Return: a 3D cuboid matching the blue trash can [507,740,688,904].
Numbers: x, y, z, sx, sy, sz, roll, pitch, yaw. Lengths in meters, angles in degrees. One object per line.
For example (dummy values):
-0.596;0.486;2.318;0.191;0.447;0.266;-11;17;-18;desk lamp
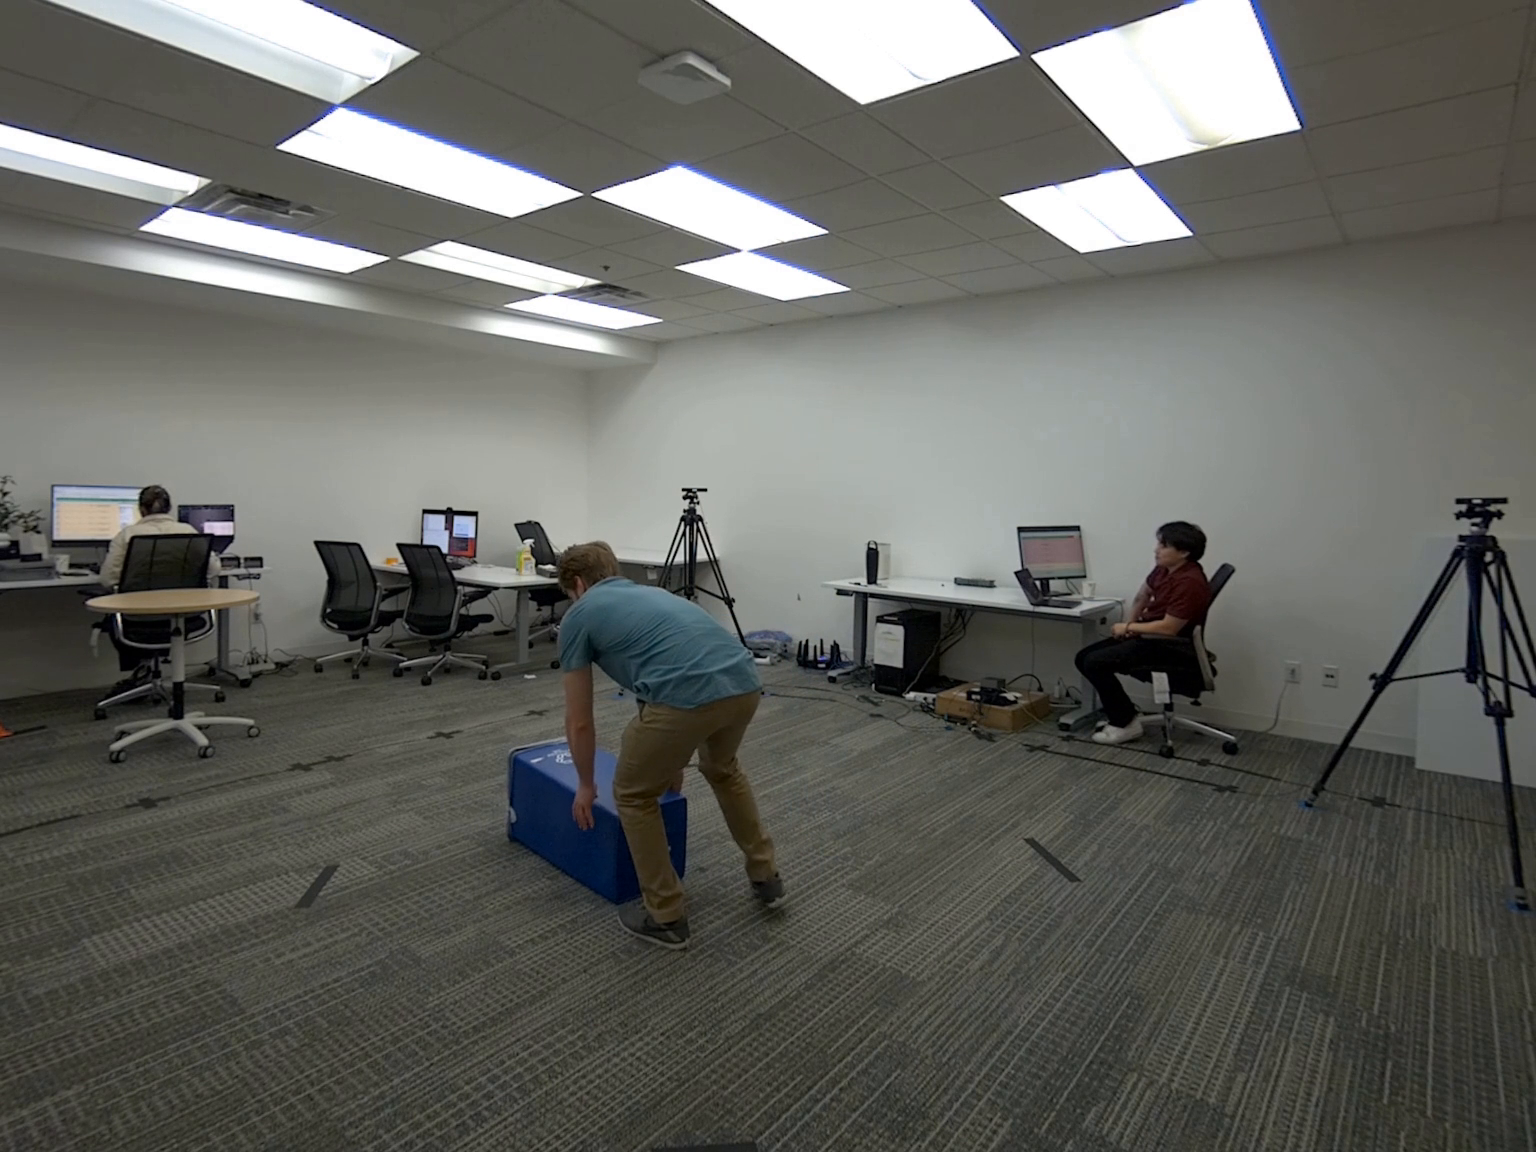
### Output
-0.655;0.890;3.170;0.363;0.376;0.739;-3;9;-43;blue trash can
